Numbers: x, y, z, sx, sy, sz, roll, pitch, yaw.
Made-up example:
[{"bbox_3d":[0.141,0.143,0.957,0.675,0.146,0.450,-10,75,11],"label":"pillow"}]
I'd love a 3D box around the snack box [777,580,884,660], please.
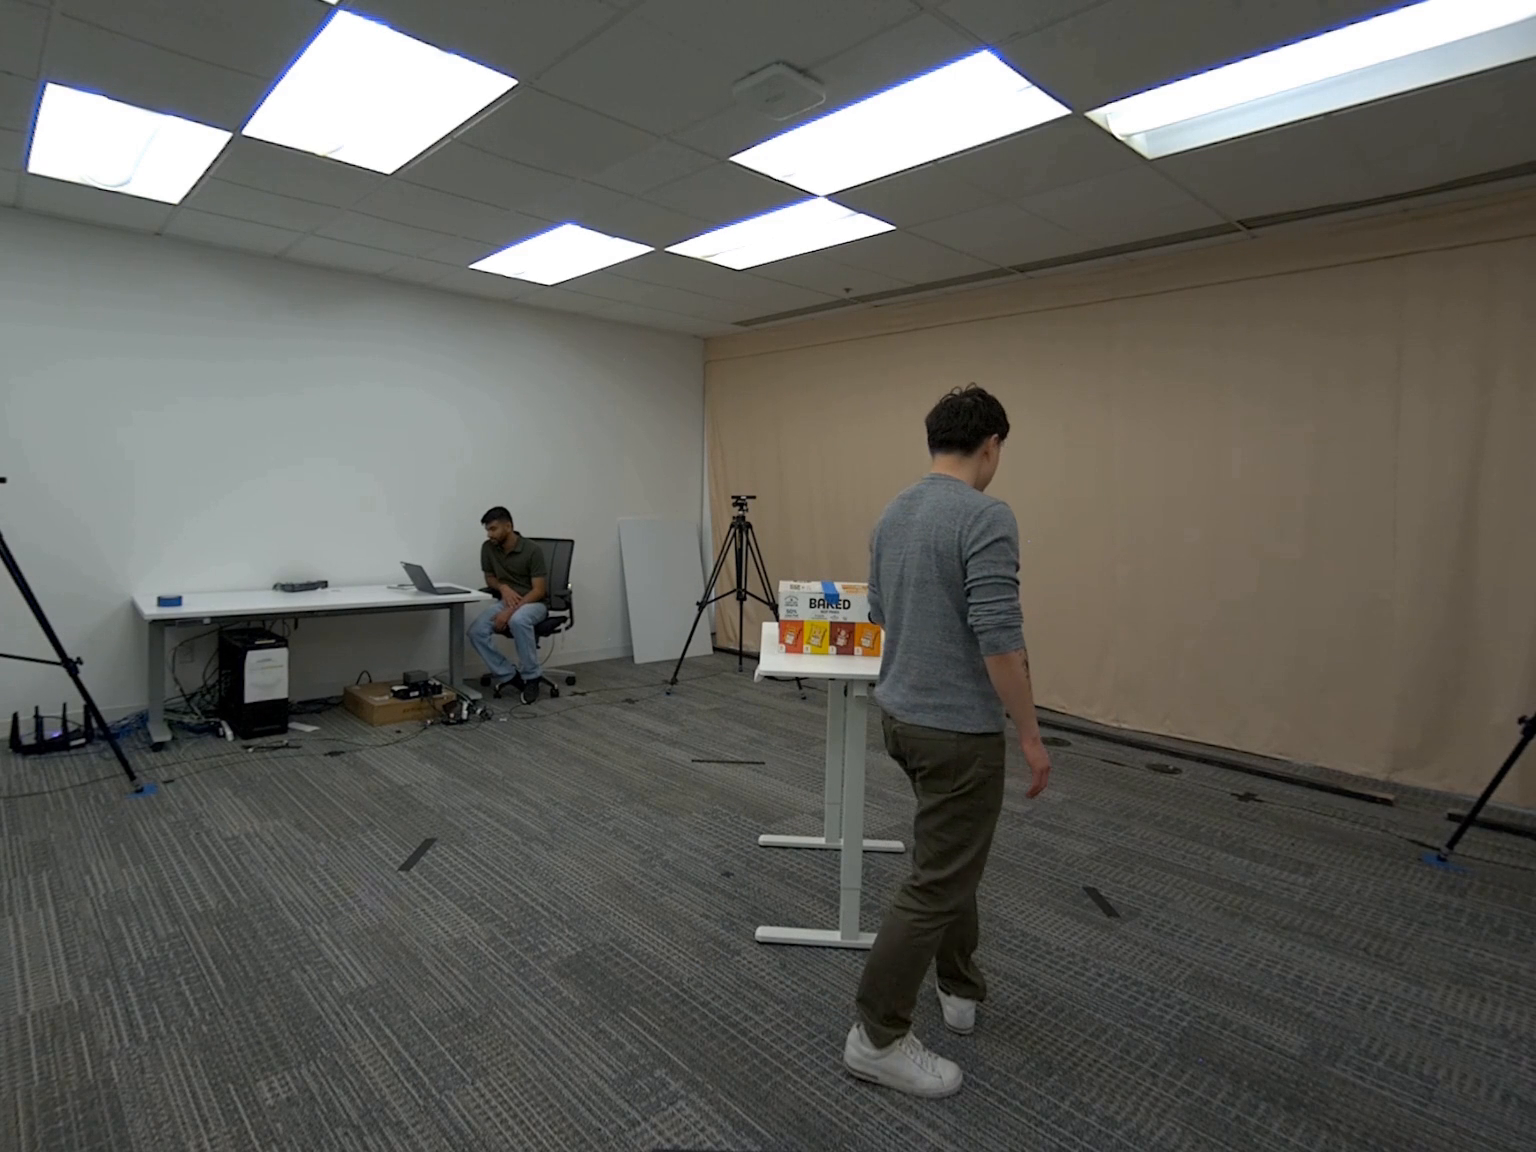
[{"bbox_3d":[0.209,0.143,2.950,0.341,0.205,0.405,2,4,2],"label":"snack box"}]
